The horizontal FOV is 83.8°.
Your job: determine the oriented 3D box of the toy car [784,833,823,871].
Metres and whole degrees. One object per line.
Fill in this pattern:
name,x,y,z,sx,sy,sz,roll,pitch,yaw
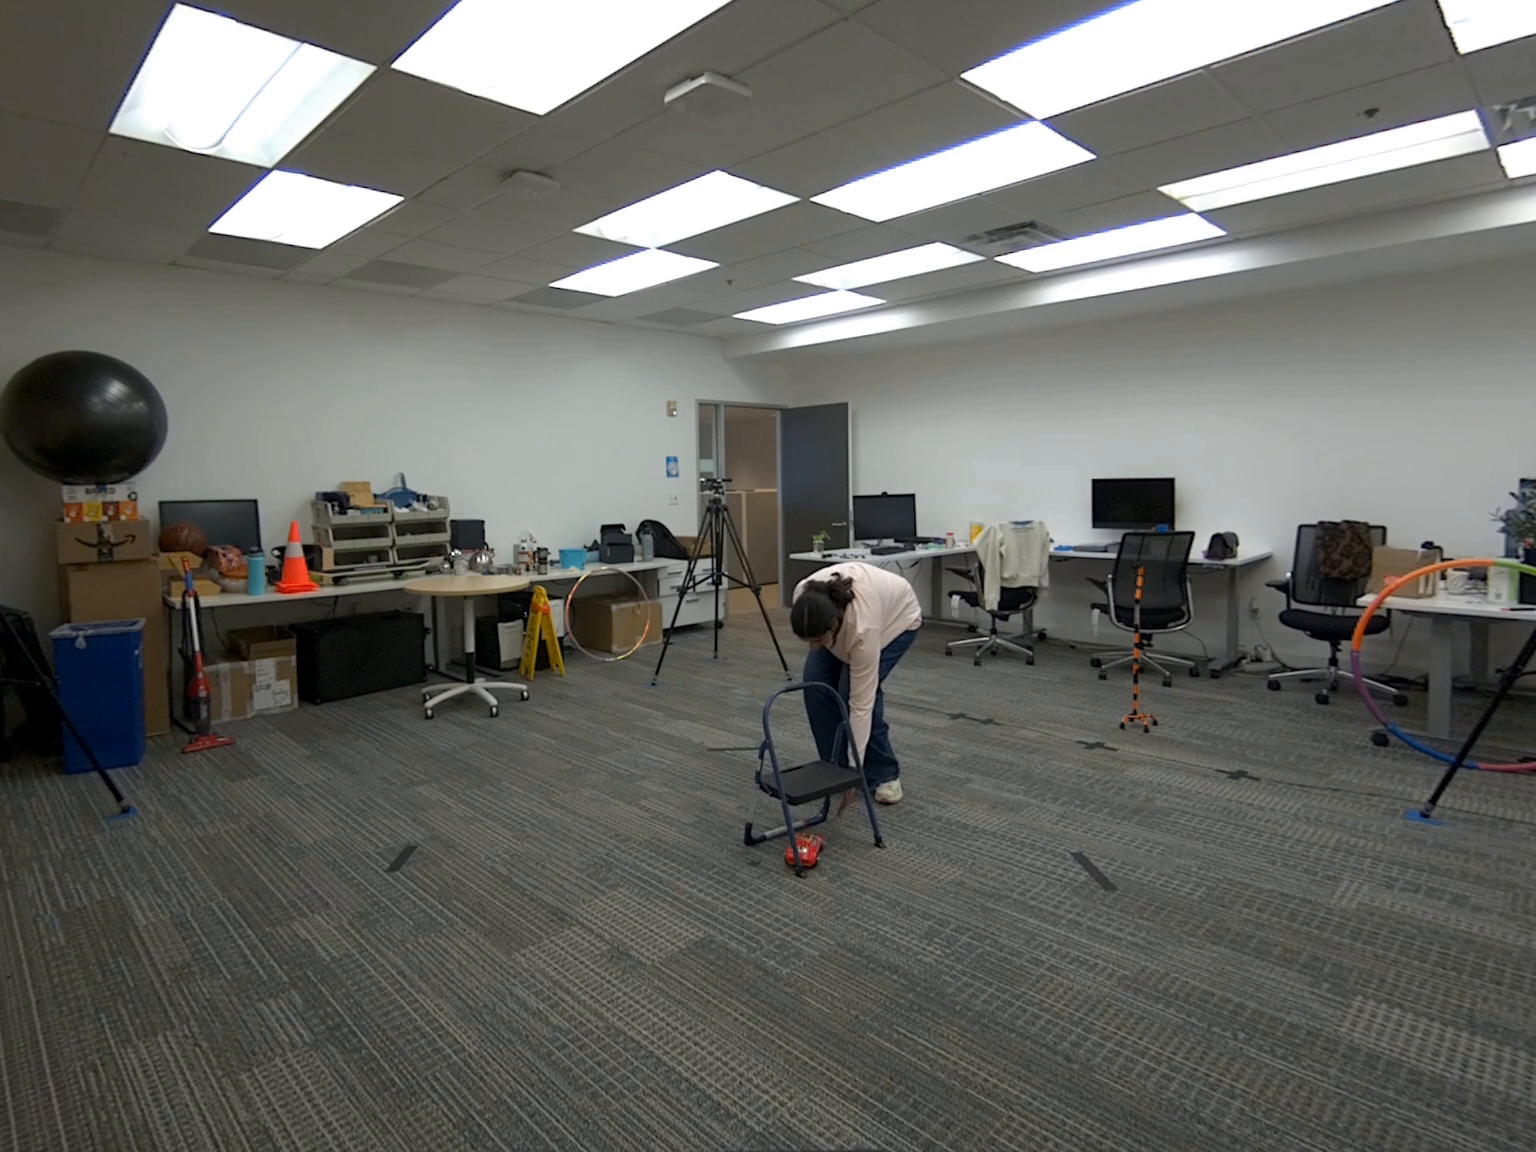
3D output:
toy car,0.152,1.002,3.160,0.132,0.084,0.250,0,-5,13
